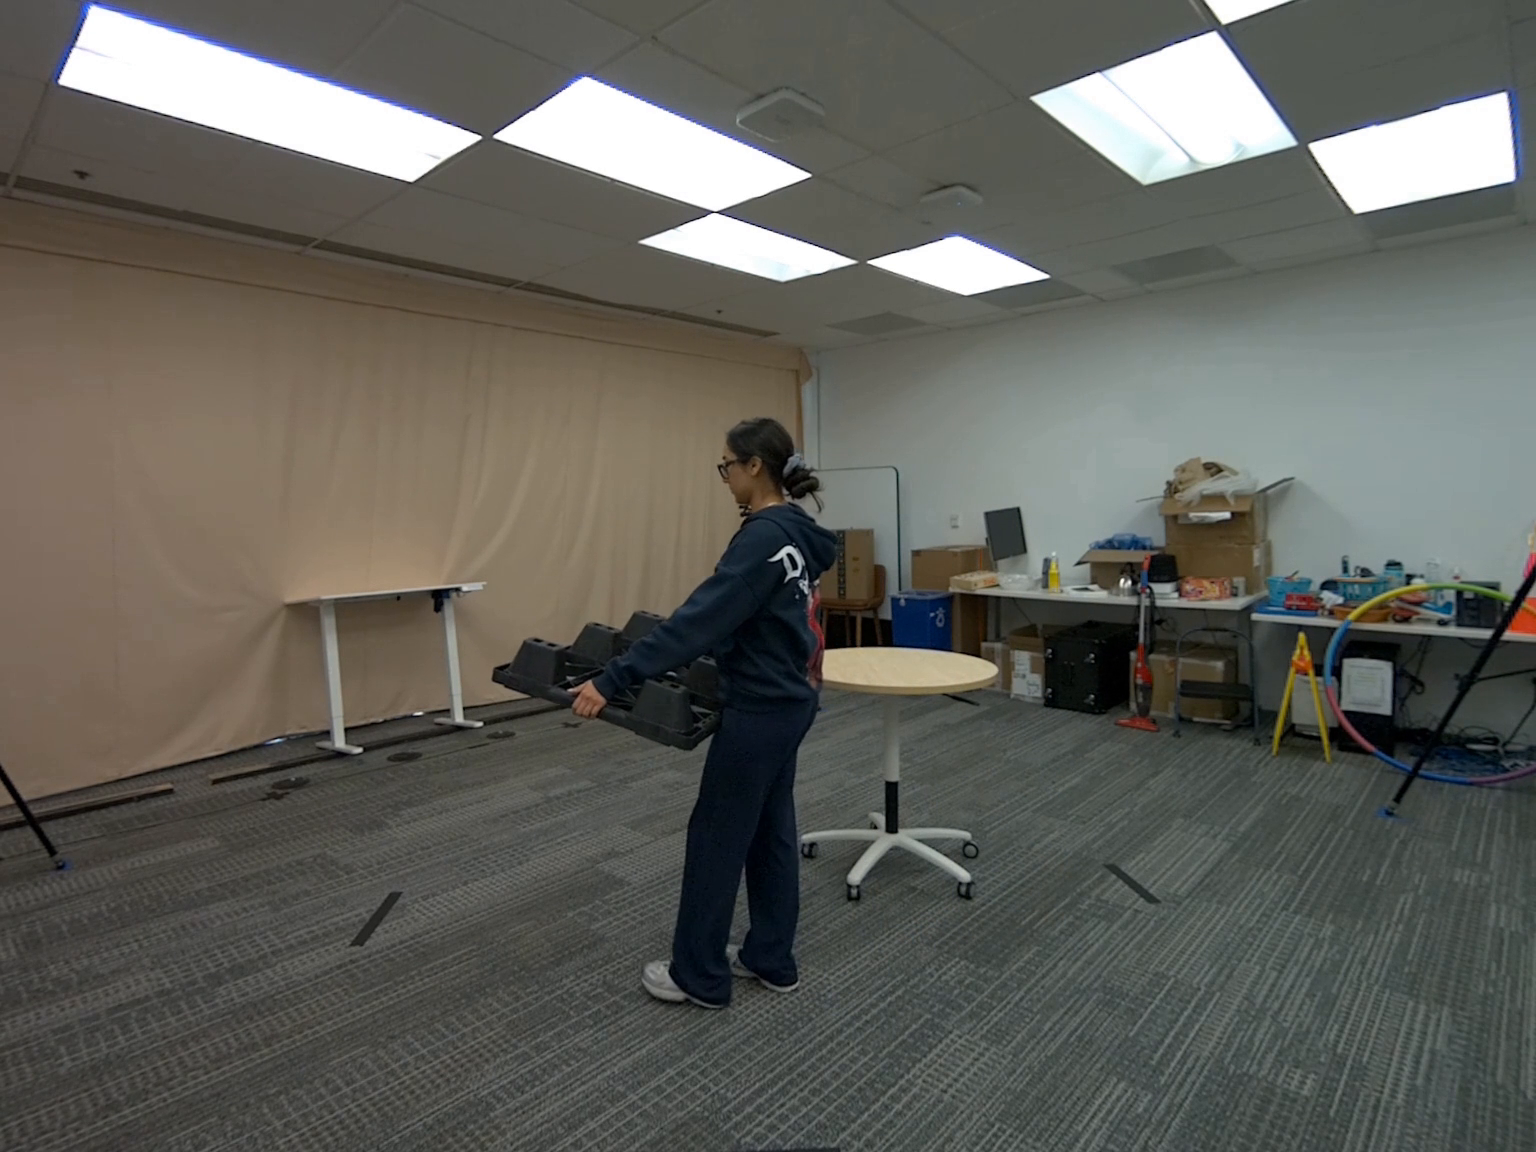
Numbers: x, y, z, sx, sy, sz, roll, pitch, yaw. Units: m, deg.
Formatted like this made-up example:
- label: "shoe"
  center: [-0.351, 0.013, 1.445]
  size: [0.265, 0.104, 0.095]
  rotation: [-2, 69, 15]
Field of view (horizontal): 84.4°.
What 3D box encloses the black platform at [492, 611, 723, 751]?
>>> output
- label: "black platform"
  center: [-0.350, 0.267, 2.547]
  size: [0.619, 0.143, 0.790]
  rotation: [16, 8, 18]
